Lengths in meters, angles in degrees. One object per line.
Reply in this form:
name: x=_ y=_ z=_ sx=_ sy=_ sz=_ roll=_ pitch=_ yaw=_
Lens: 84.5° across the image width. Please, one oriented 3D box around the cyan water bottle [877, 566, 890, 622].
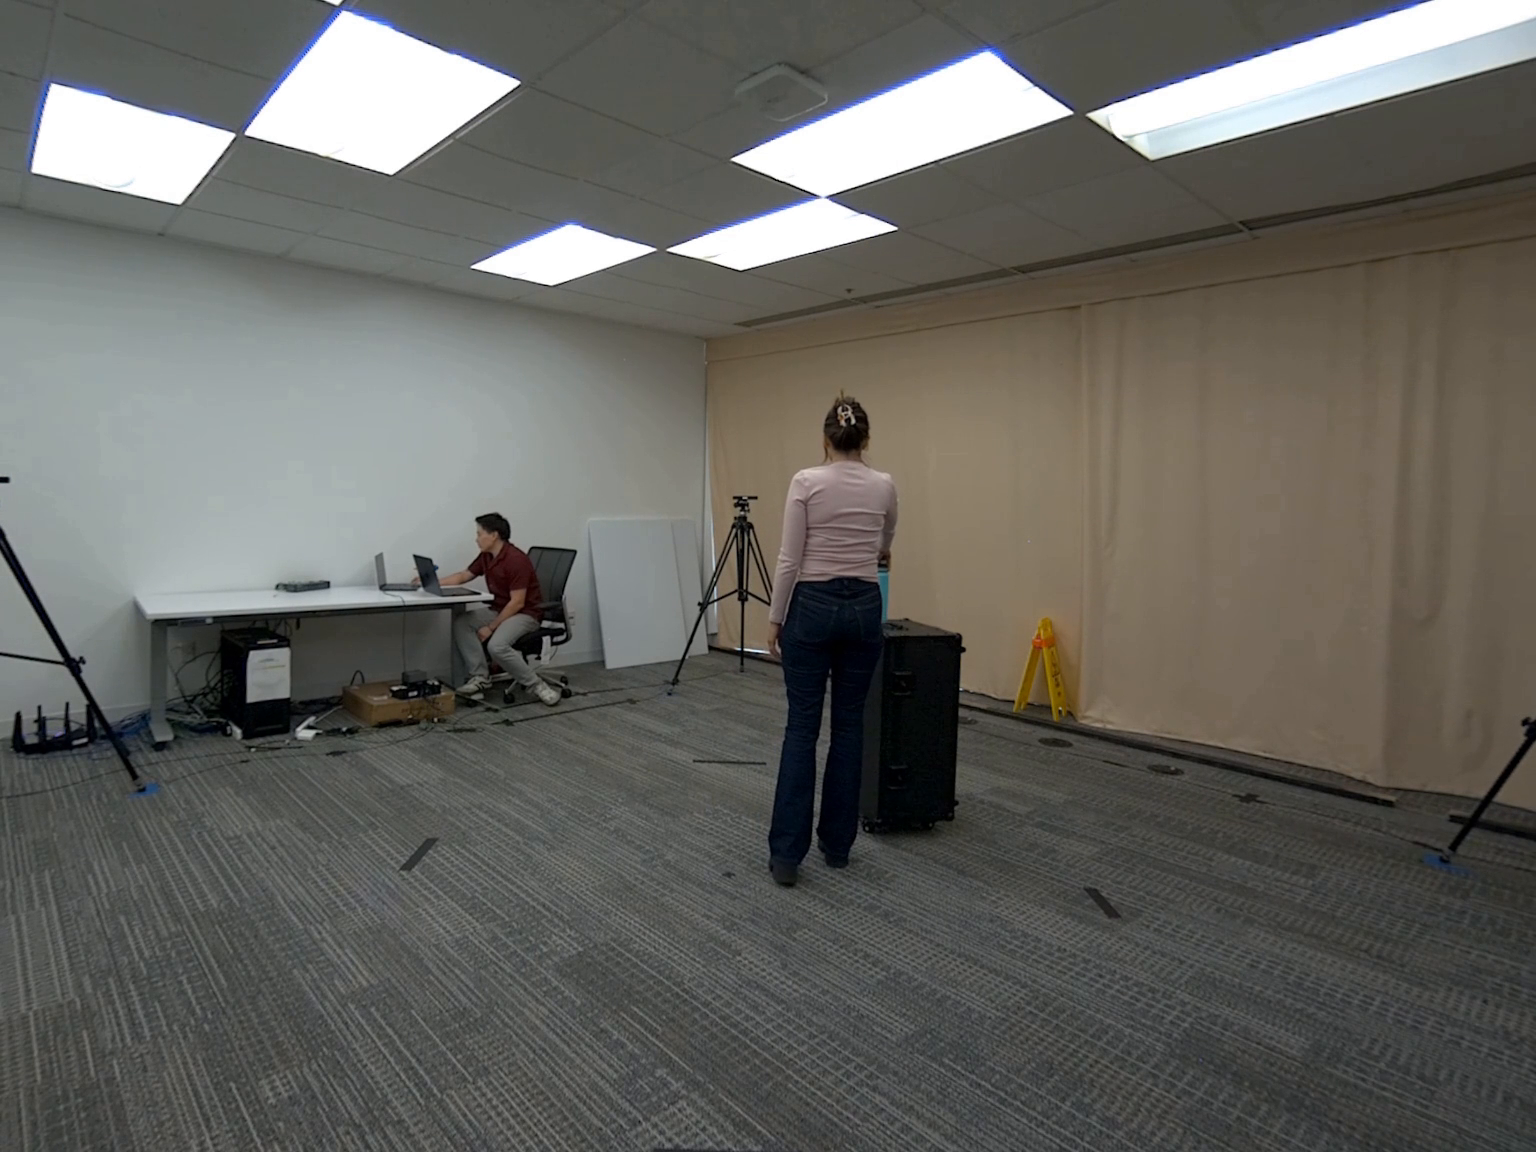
cyan water bottle: x=0.498 y=0.070 z=3.805 sx=0.092 sy=0.283 sz=0.092 roll=1 pitch=0 yaw=-1
